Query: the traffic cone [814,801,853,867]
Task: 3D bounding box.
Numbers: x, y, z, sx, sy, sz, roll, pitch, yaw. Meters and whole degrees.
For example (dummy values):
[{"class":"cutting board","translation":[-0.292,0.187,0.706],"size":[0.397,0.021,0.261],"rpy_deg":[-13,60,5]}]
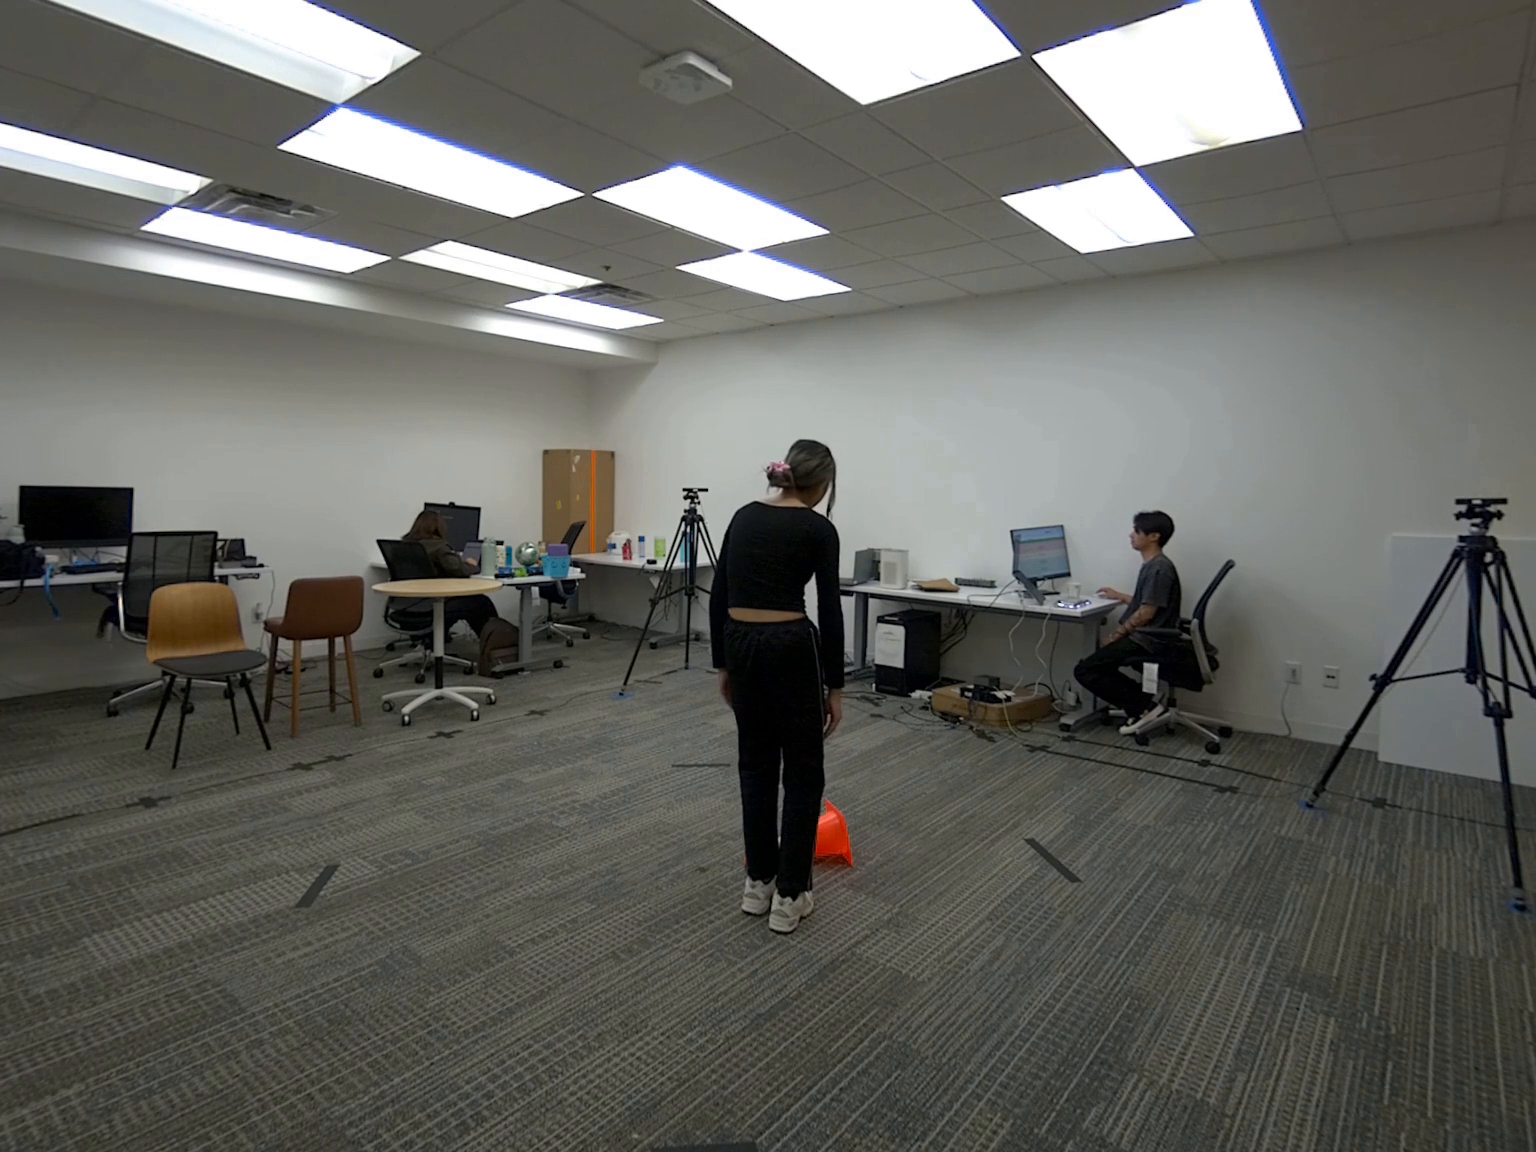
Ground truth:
[{"class":"traffic cone","translation":[0.089,1.023,3.190],"size":[0.379,0.203,0.207],"rpy_deg":[-16,8,-16]}]
